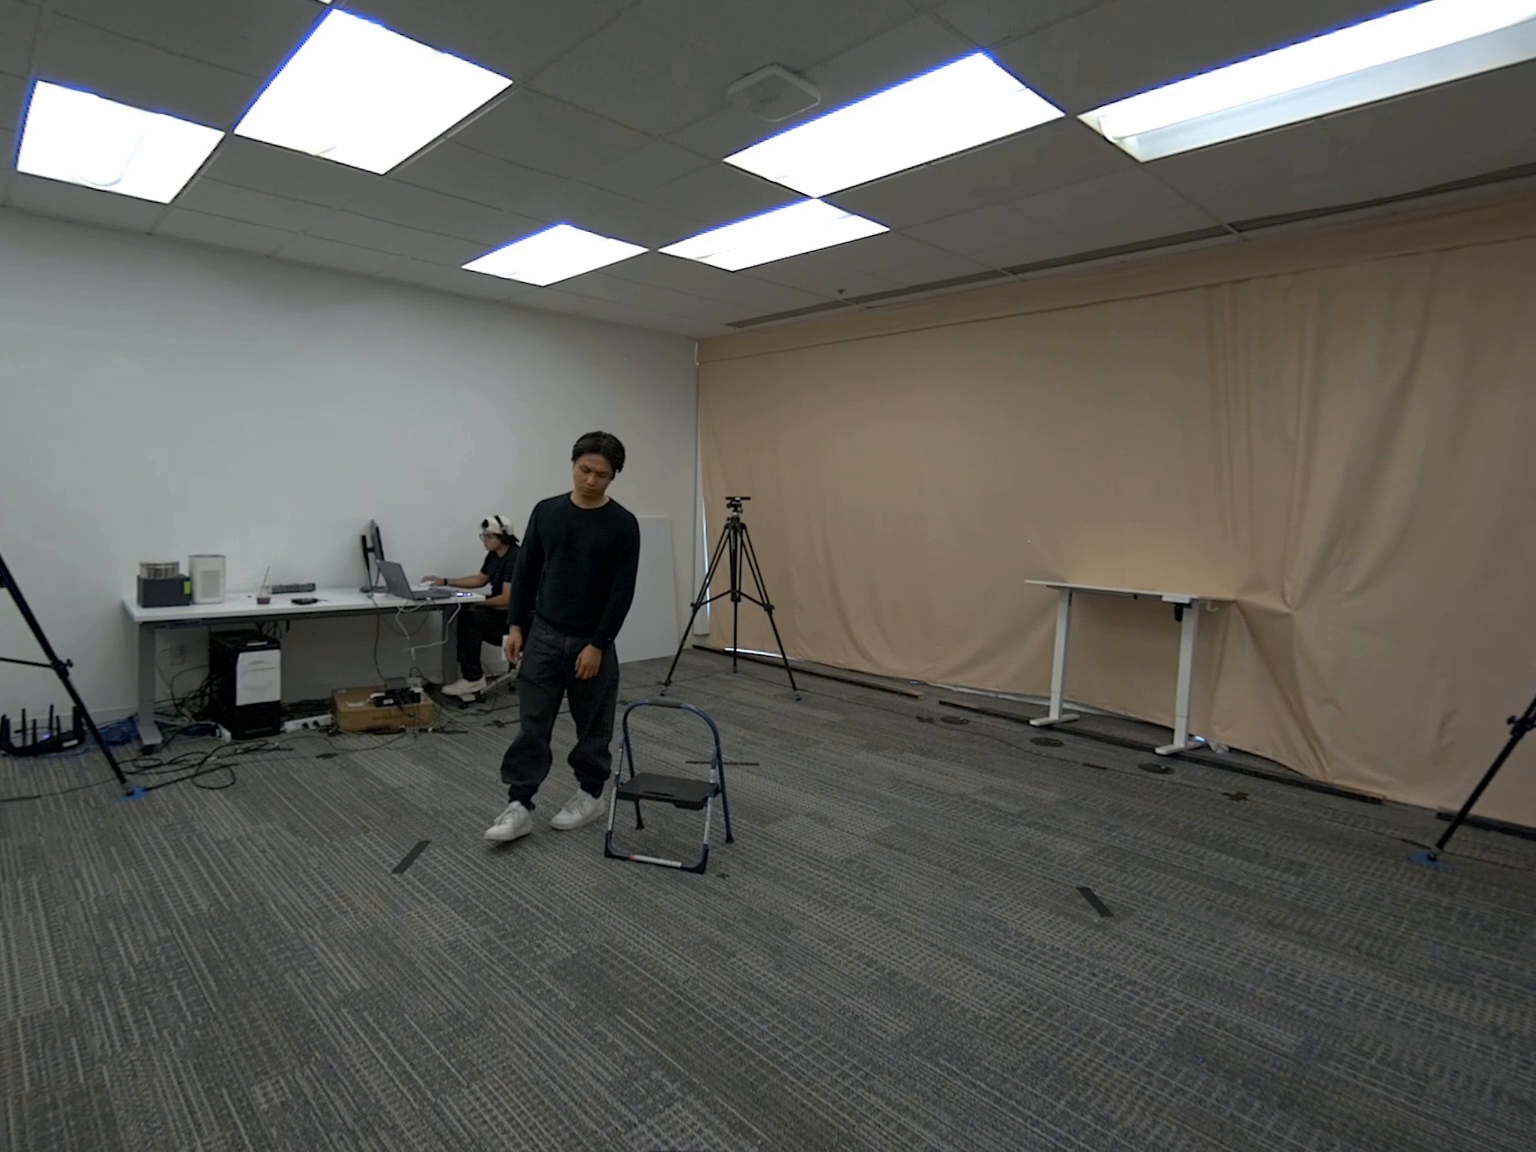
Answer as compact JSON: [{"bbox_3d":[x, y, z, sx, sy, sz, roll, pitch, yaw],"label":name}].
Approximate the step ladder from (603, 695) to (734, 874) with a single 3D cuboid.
[{"bbox_3d":[-0.386,0.782,3.319,0.437,0.605,0.345,2,3,17],"label":"step ladder"}]
